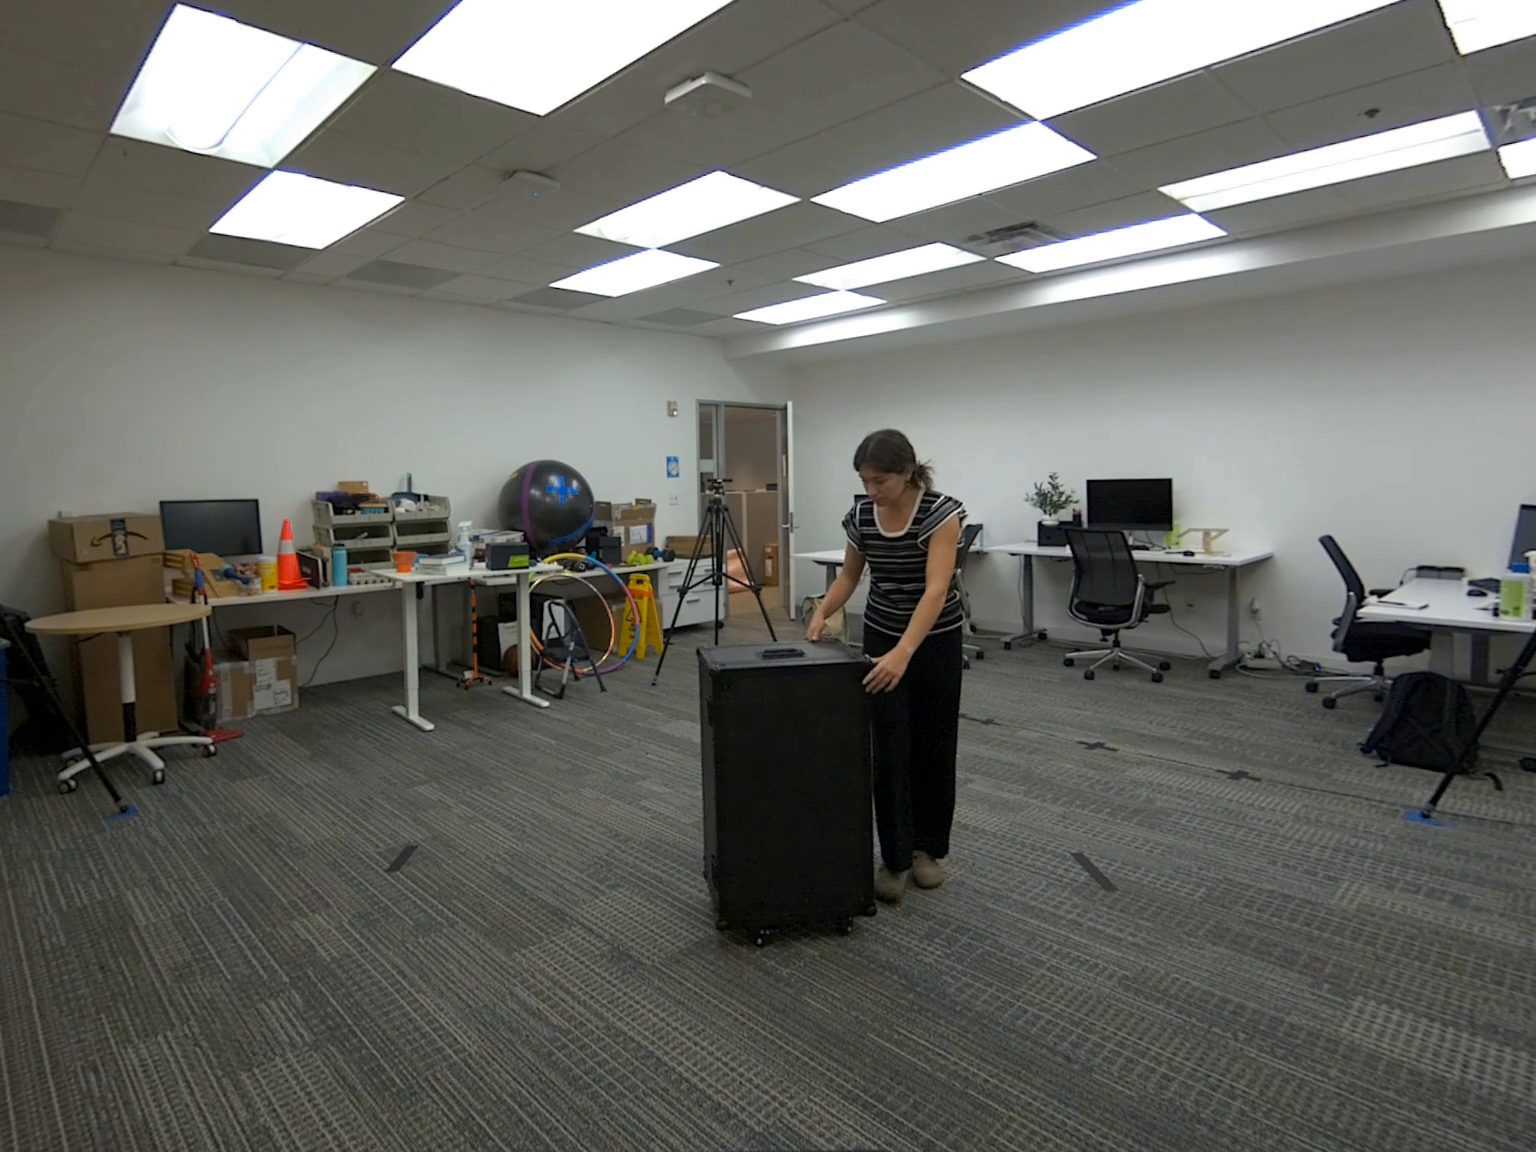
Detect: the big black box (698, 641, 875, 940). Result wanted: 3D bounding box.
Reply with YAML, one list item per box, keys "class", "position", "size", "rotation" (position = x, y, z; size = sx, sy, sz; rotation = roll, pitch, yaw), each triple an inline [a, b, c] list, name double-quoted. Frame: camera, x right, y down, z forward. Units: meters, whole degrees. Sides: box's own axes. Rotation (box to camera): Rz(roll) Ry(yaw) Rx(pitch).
- class: "big black box"
  position: [0.040, 0.666, 2.702]
  size: [0.517, 0.859, 0.401]
  rotation: [-2, 3, -9]
